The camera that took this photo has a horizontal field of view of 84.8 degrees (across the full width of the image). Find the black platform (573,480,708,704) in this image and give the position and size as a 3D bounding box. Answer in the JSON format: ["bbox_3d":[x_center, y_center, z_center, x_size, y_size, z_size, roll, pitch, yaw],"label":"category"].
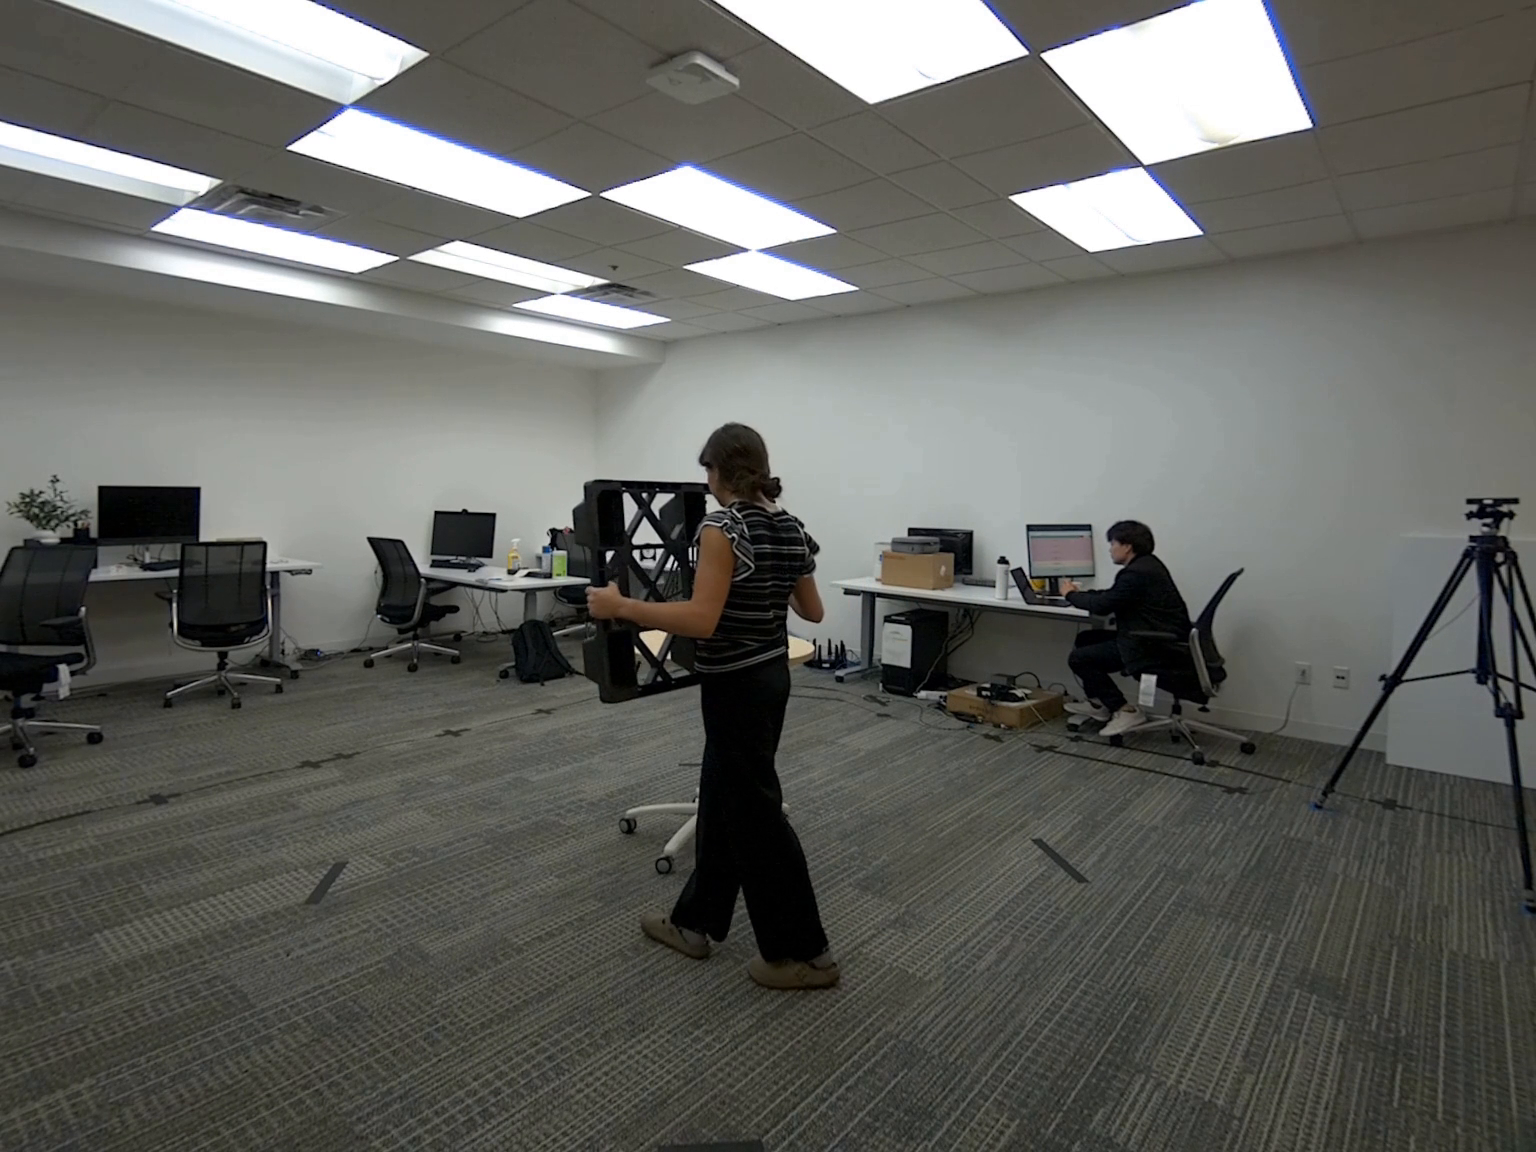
[{"bbox_3d":[-0.258,0.011,2.592,0.147,0.607,0.781,-9,-3,41],"label":"black platform"}]
